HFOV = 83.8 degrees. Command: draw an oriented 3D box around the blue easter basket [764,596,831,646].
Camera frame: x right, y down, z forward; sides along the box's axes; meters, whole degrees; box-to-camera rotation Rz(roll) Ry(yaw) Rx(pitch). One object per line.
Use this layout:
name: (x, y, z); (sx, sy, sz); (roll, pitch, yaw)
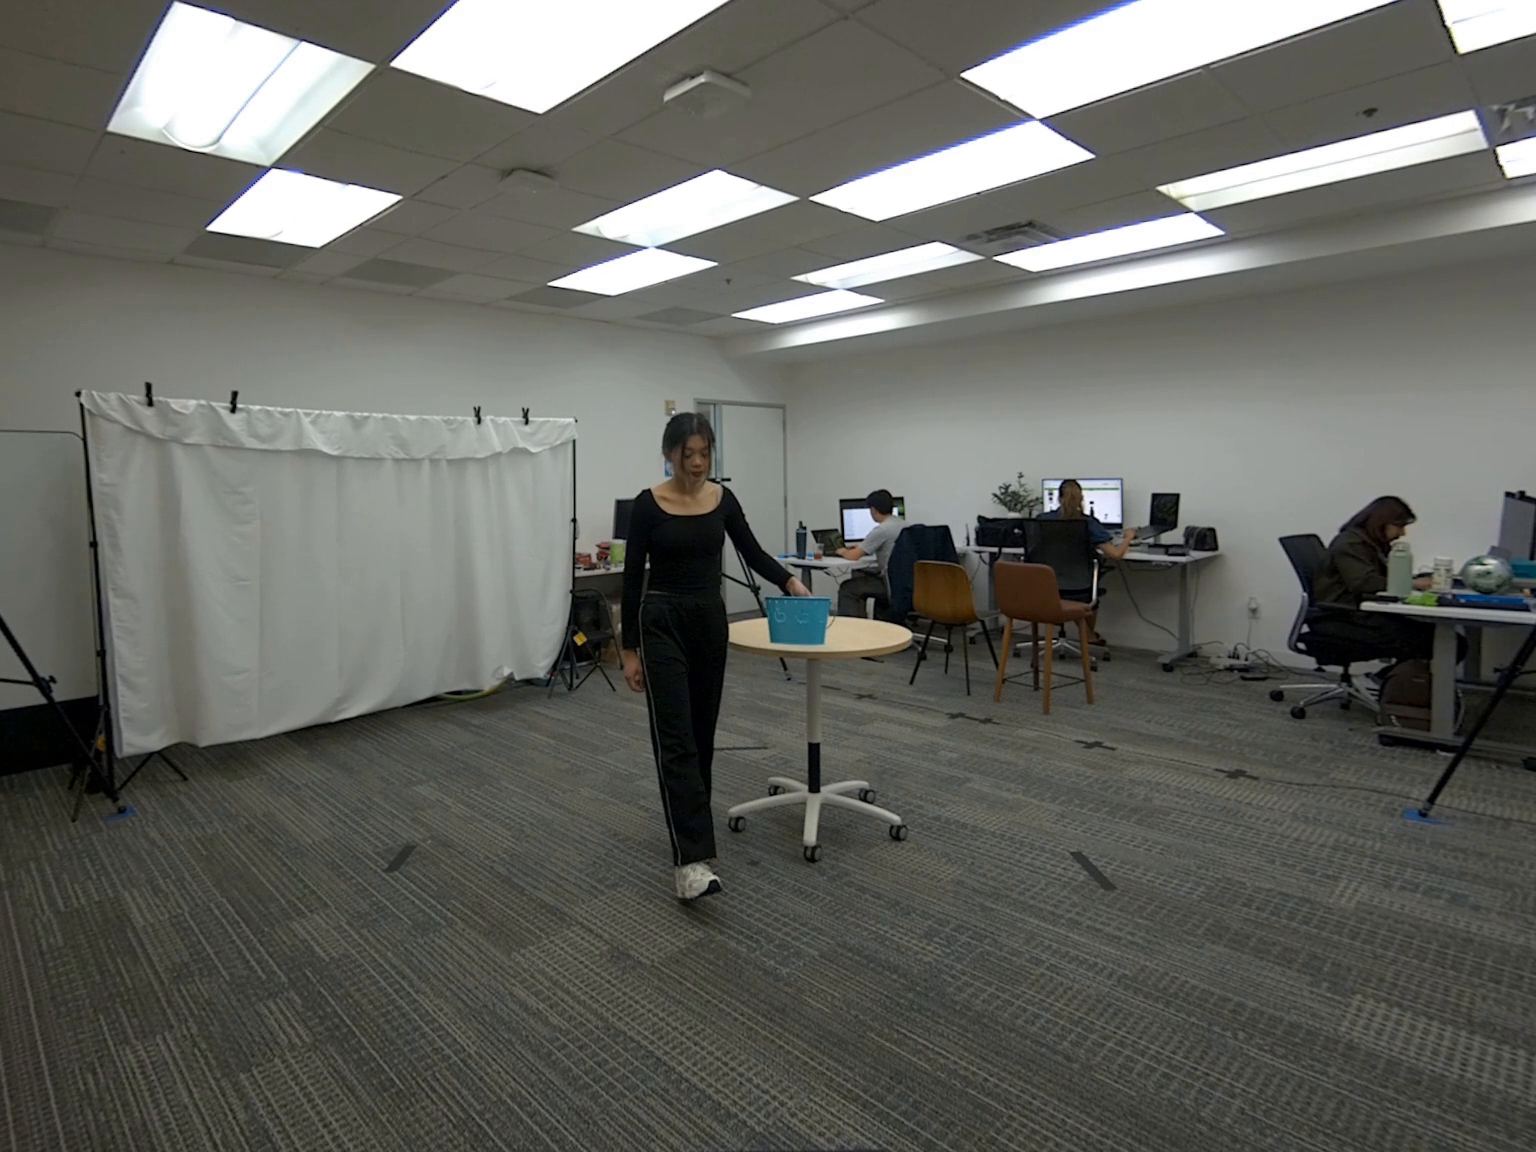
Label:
blue easter basket: (0.106, 0.148, 2.830); (0.243, 0.156, 0.243); (2, -1, -2)
